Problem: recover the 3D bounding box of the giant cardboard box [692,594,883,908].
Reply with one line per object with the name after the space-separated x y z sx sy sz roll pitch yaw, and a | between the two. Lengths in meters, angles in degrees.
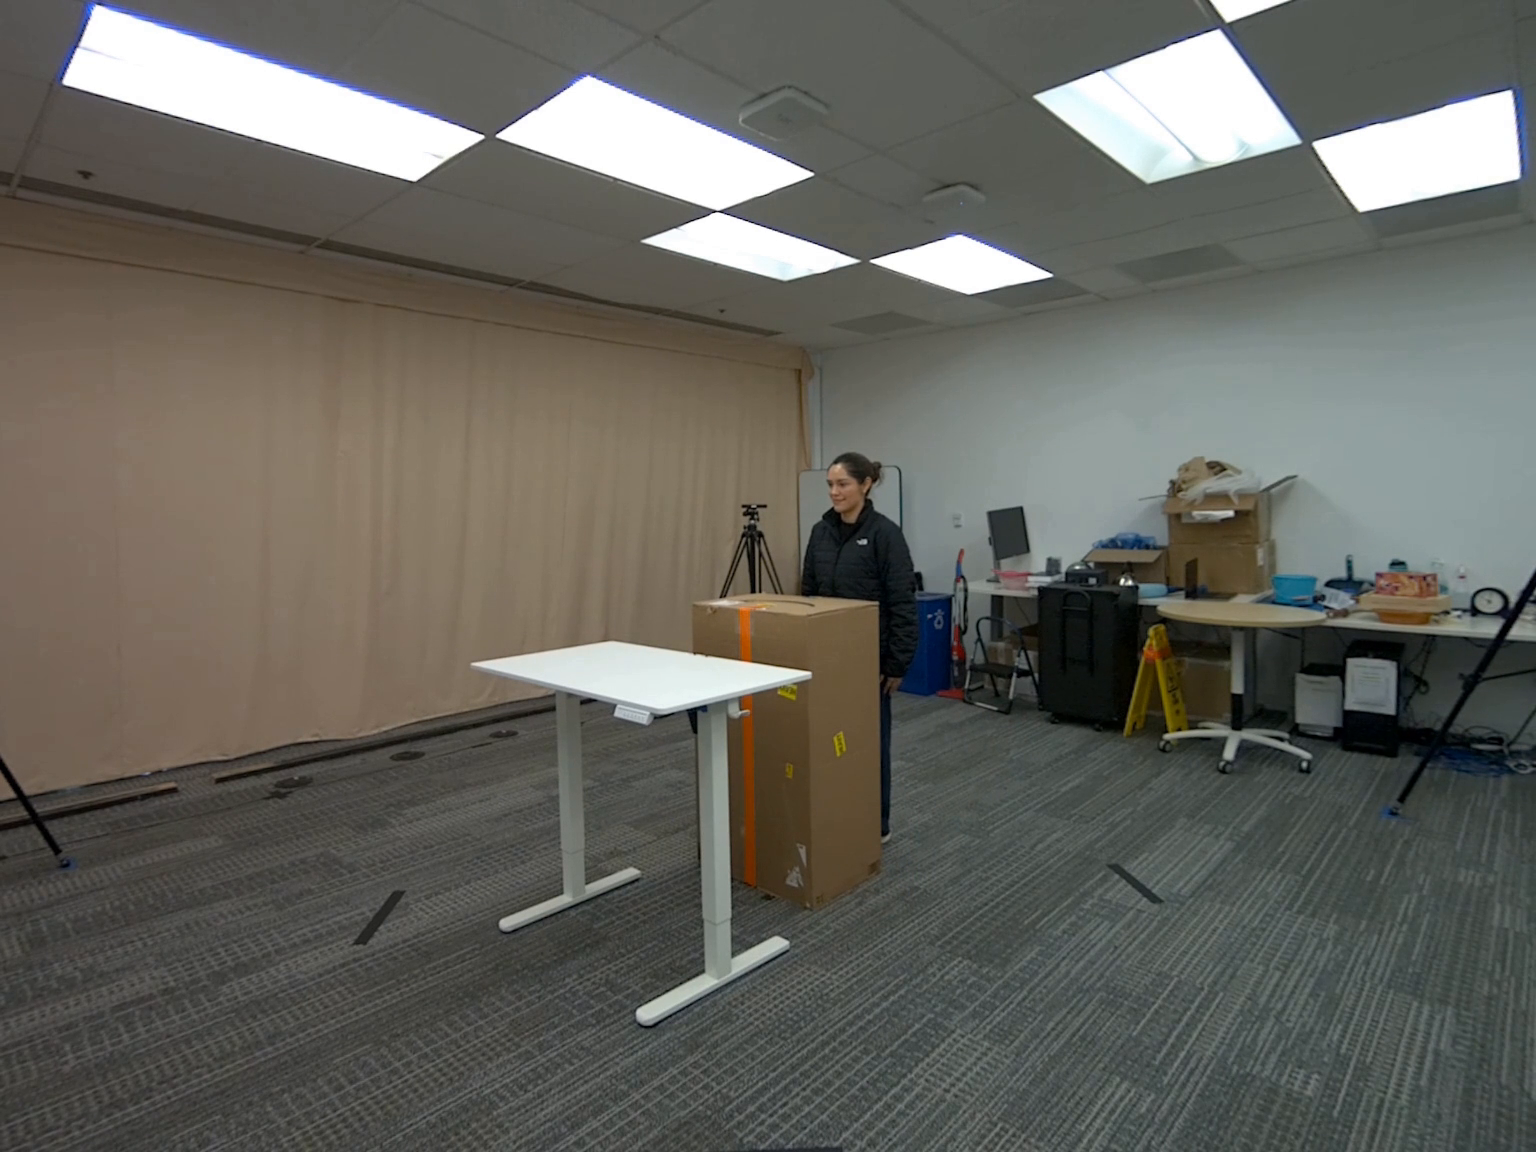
0.073 0.611 3.196 0.597 1.023 0.413 3 5 43 | giant cardboard box
